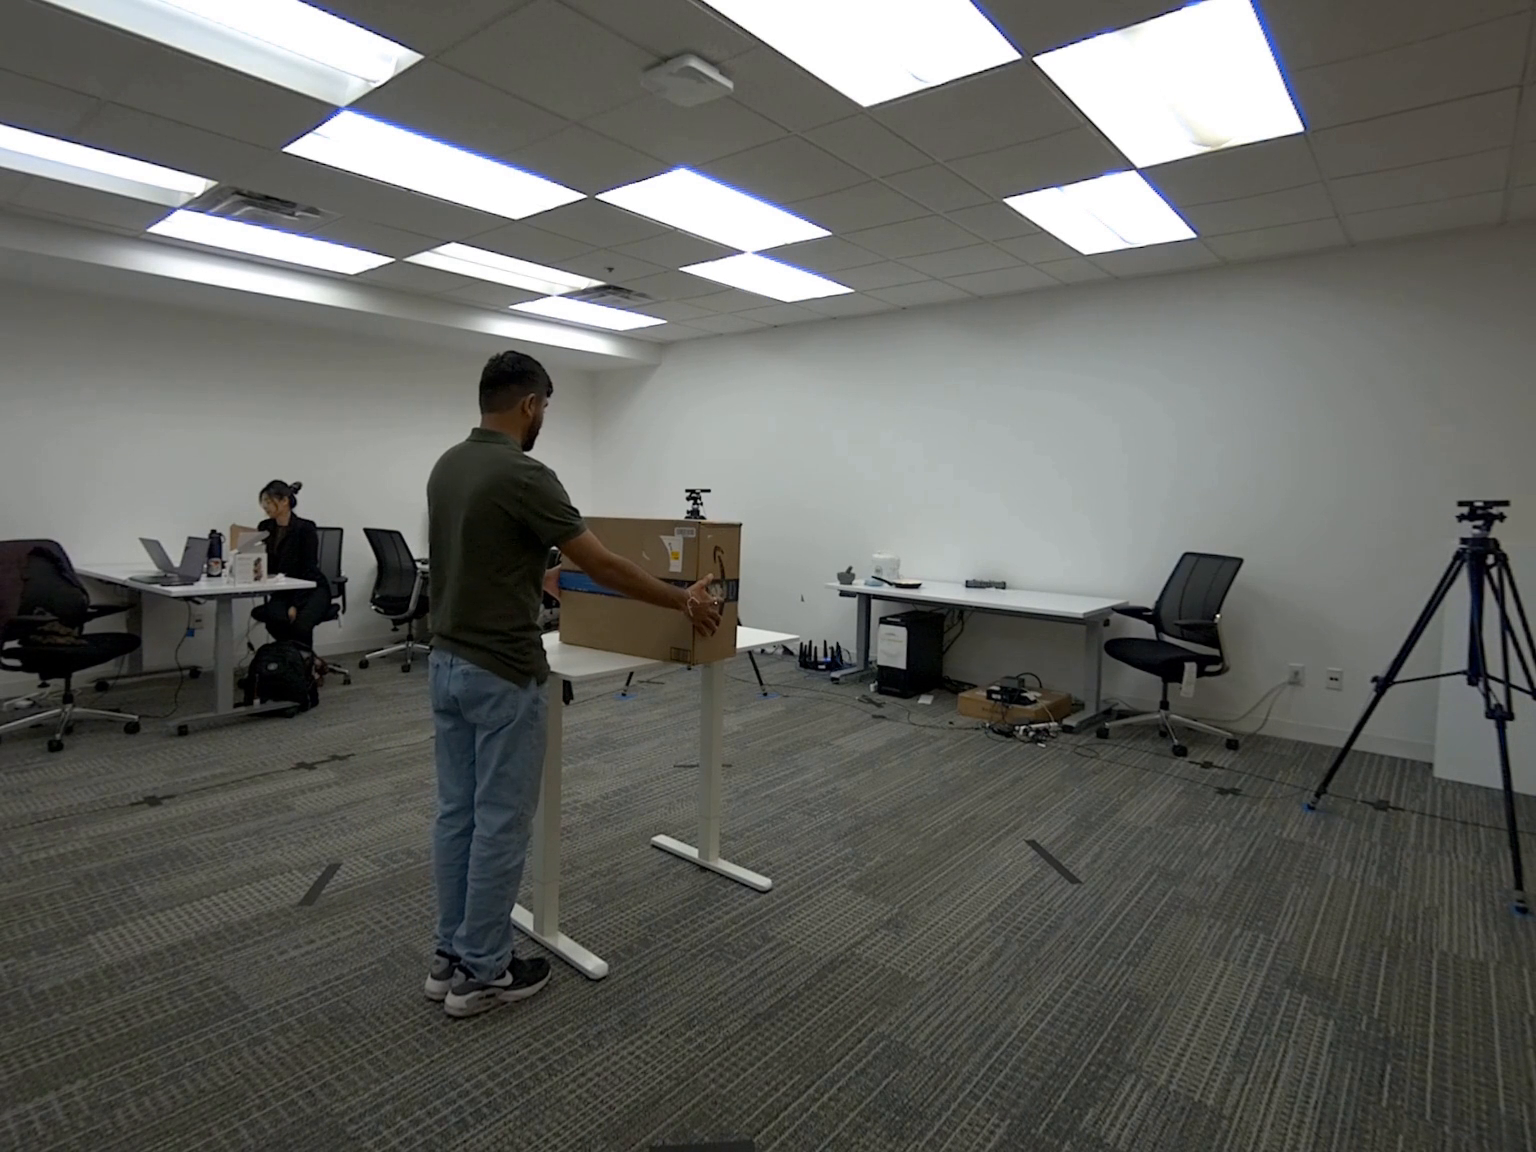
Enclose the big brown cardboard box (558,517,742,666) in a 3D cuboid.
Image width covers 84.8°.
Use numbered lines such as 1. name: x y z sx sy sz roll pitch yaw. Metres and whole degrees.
1. big brown cardboard box: -0.389 0.026 2.674 0.608 0.417 0.226 5 3 36
